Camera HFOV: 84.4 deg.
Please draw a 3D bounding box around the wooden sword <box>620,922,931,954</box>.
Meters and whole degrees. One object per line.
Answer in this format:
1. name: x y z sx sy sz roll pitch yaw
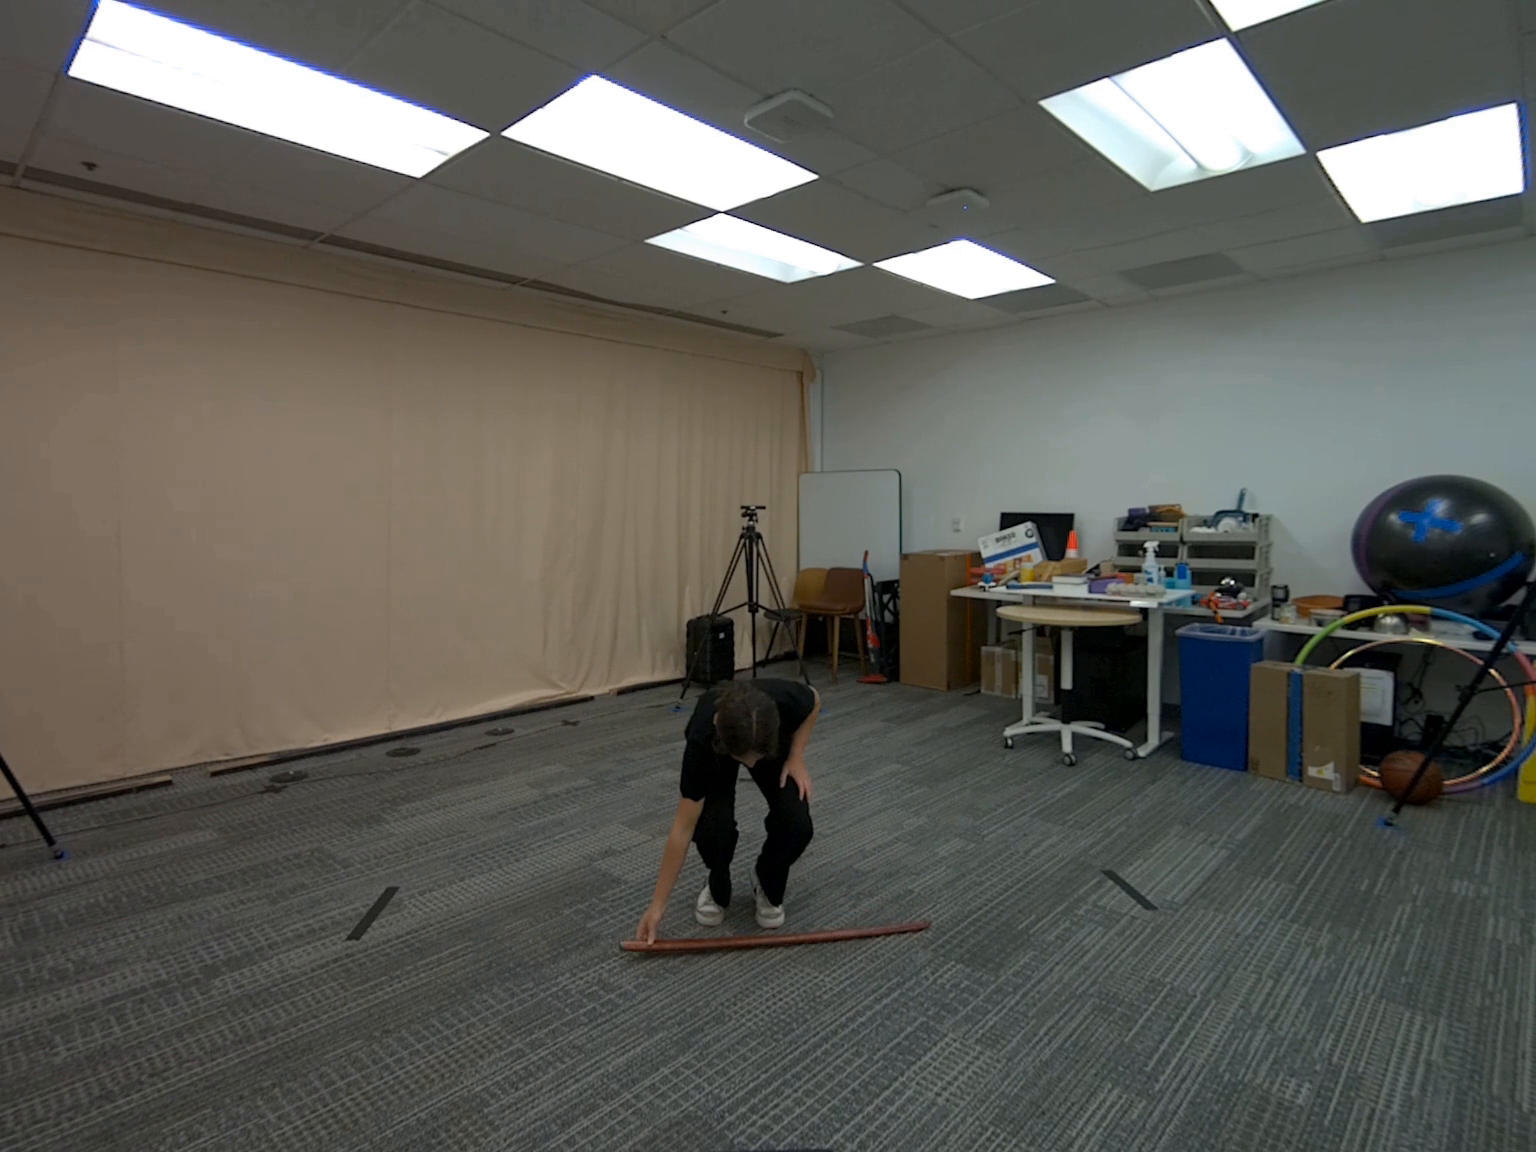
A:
1. wooden sword: 0.056 1.142 2.671 1.013 0.052 0.024 1 -39 -10
